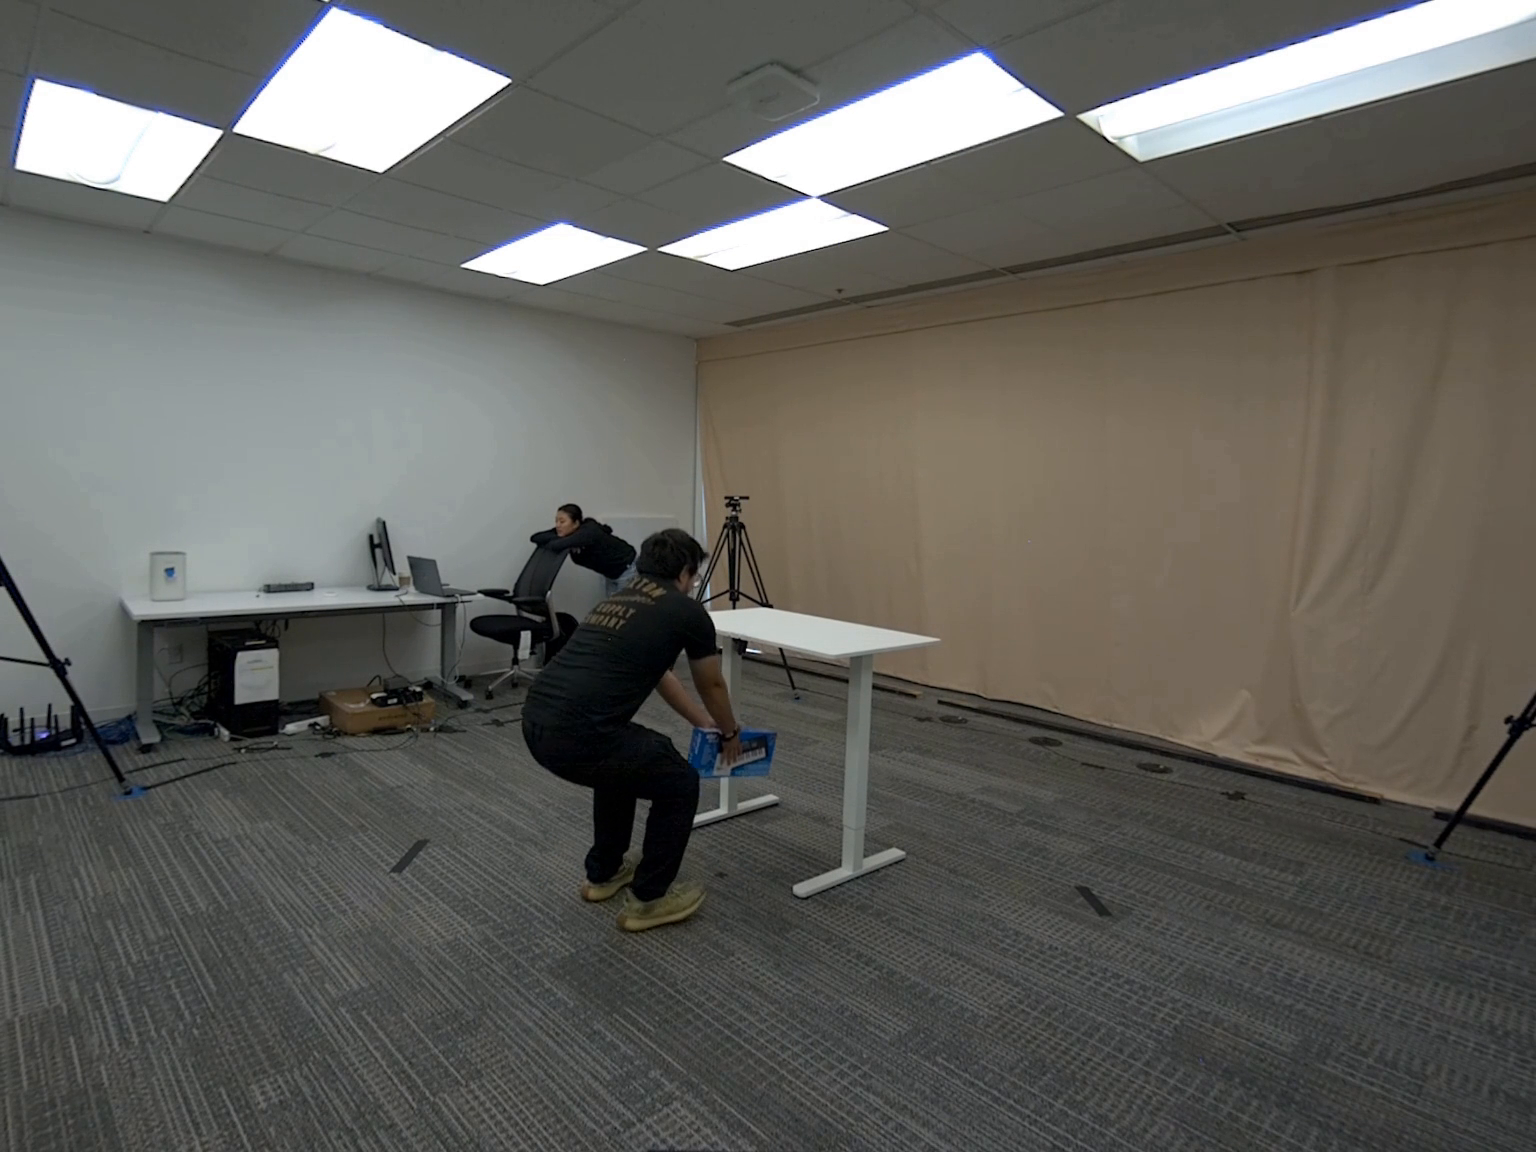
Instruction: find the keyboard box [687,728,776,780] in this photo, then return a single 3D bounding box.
[{"bbox_3d":[-0.137,0.673,3.164,0.060,0.176,0.425,8,-3,39],"label":"keyboard box"}]
